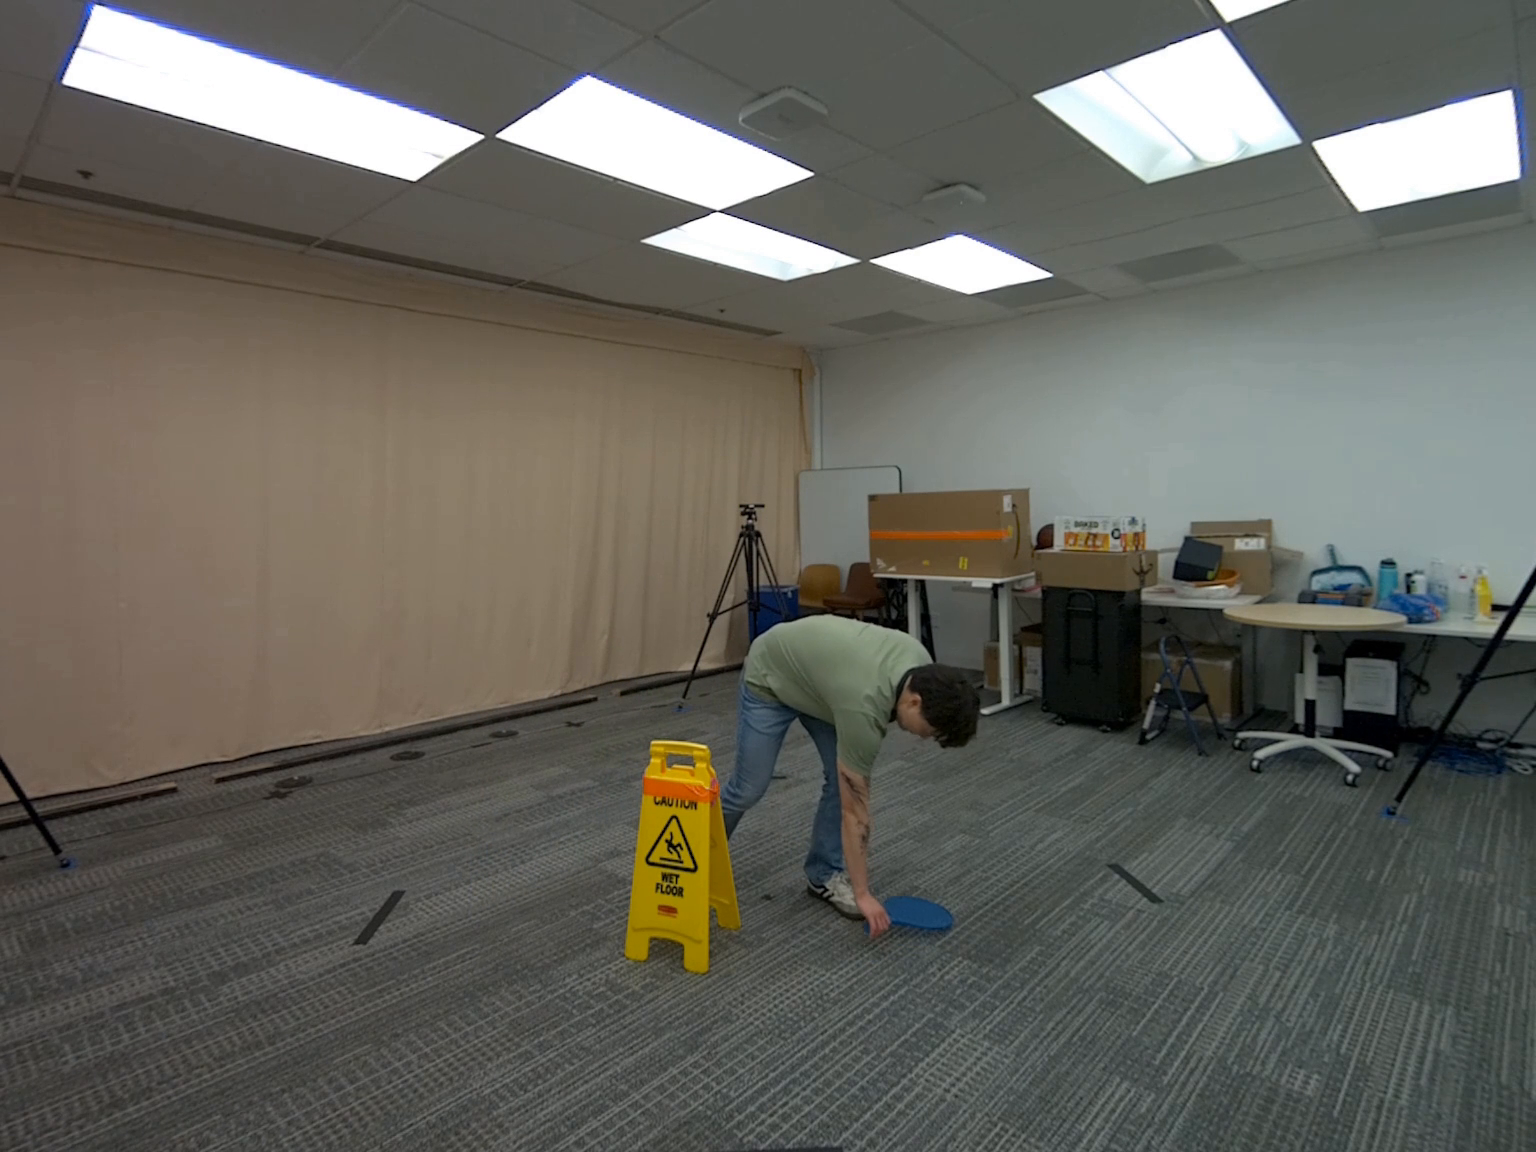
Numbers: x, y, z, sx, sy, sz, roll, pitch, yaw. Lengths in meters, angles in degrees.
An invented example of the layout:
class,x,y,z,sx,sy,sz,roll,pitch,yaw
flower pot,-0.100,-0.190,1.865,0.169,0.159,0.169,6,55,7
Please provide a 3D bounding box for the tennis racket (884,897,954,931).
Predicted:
class,x,y,z,sx,sy,sz,roll,pitch,yaw
tennis racket,0.455,1.106,2.746,0.418,0.032,0.221,10,2,-42
